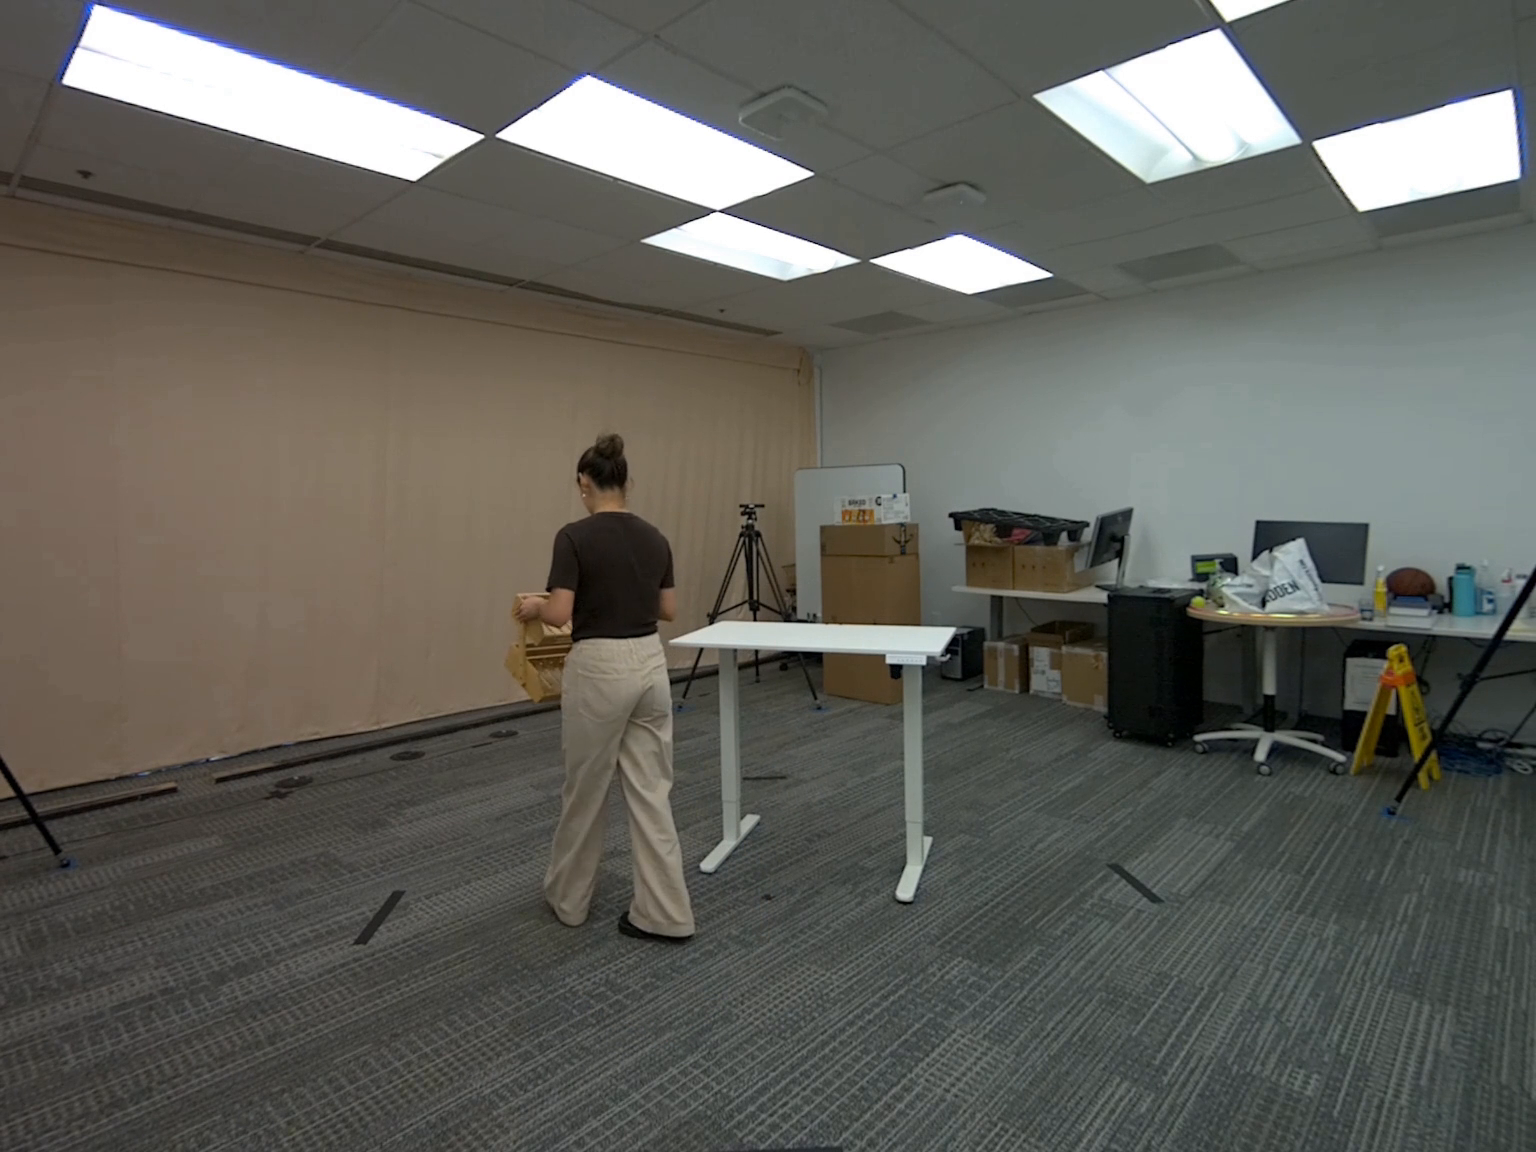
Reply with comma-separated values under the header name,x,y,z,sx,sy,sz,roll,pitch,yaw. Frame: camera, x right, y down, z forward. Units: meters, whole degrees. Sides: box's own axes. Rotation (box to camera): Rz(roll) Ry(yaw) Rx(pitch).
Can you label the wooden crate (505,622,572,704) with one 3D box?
name,x,y,z,sx,sy,sz,roll,pitch,yaw
wooden crate,-0.714,0.241,2.946,0.314,0.272,0.313,0,26,-45
